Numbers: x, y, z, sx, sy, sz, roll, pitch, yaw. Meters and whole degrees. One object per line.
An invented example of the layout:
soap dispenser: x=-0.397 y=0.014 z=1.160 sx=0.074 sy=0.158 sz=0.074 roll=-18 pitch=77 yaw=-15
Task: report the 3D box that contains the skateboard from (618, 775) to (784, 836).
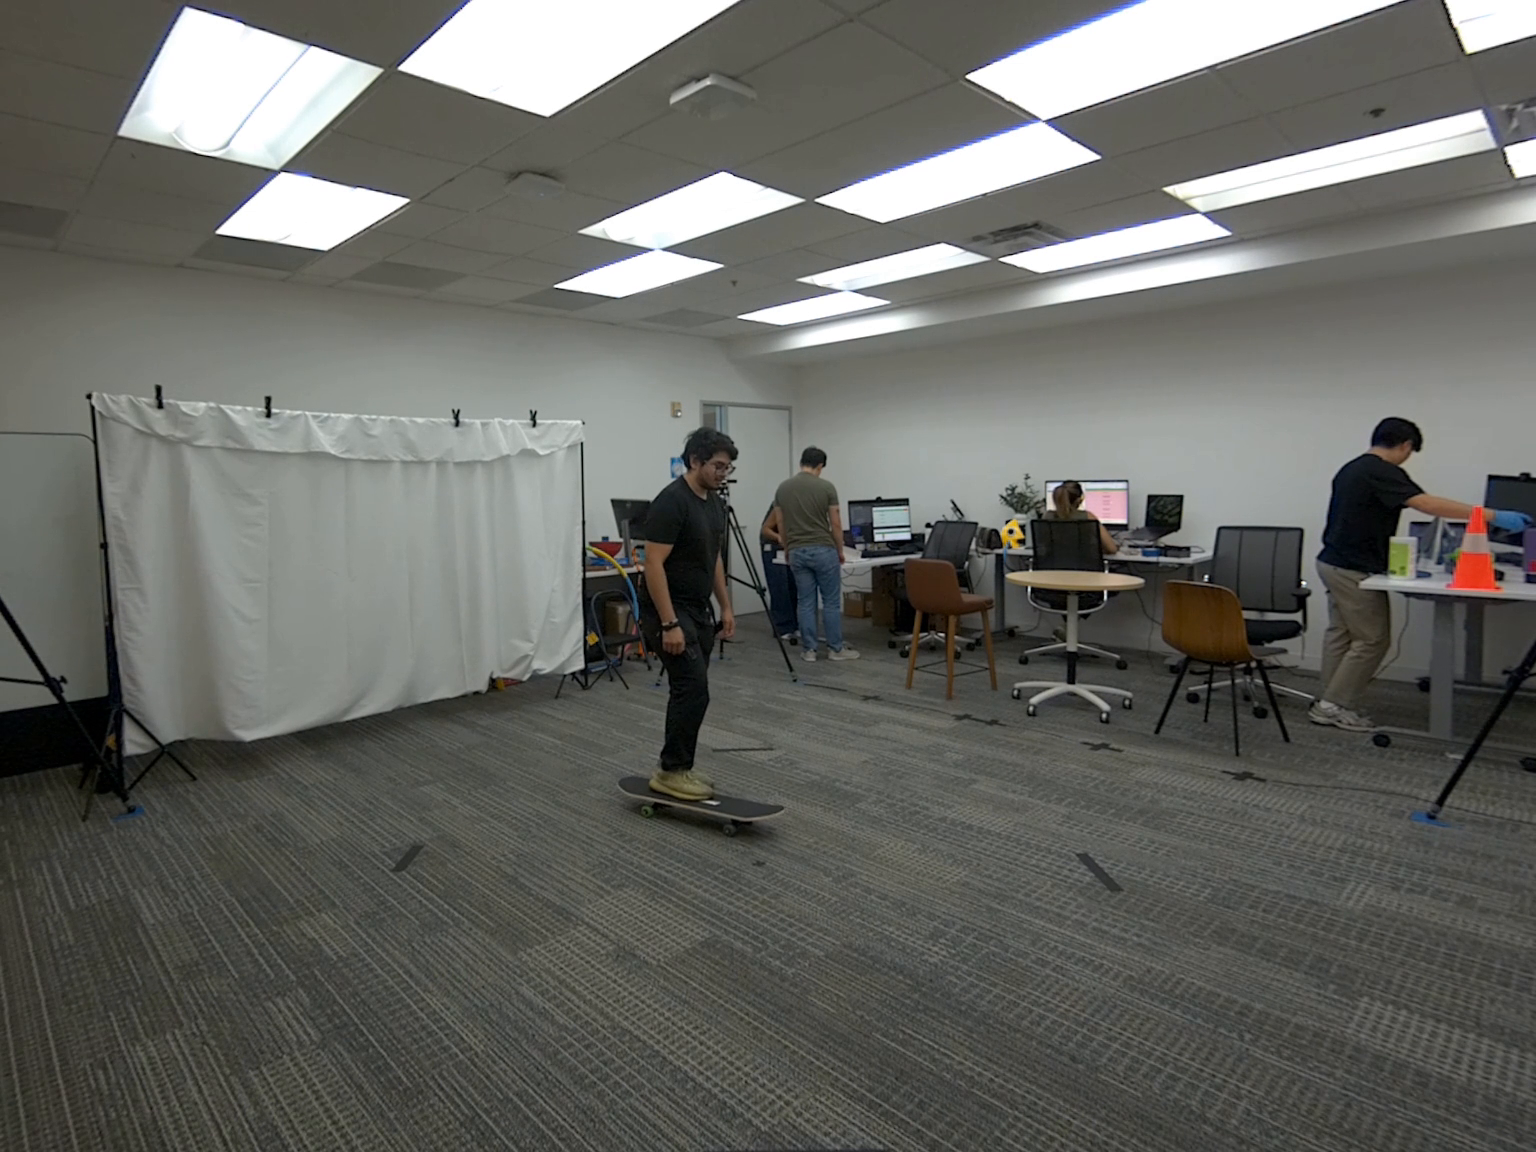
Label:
skateboard: x=-0.282 y=0.952 z=3.525 sx=0.806 sy=0.110 sz=0.189 roll=2 pitch=4 yaw=31
